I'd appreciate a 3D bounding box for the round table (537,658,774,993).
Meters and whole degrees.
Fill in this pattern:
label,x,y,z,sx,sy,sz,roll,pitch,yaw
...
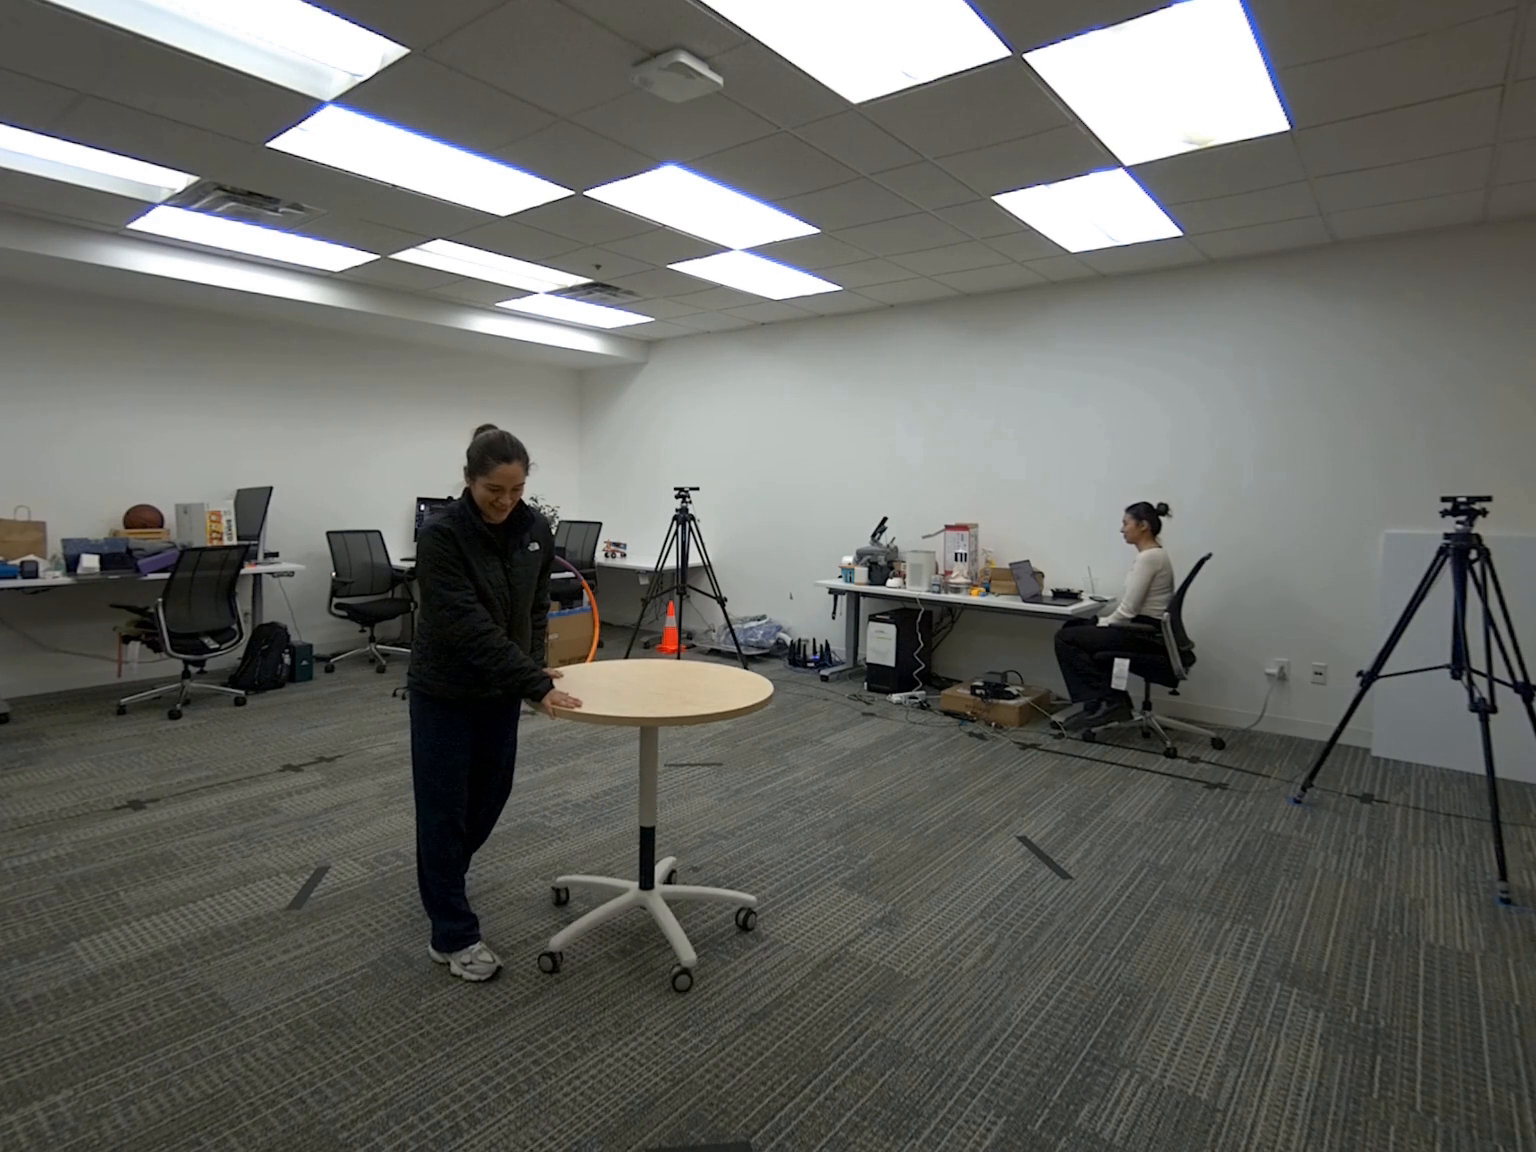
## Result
label,x,y,z,sx,sy,sz,roll,pitch,yaw
round table,-0.379,0.722,2.646,0.784,0.784,0.789,1,4,-2
